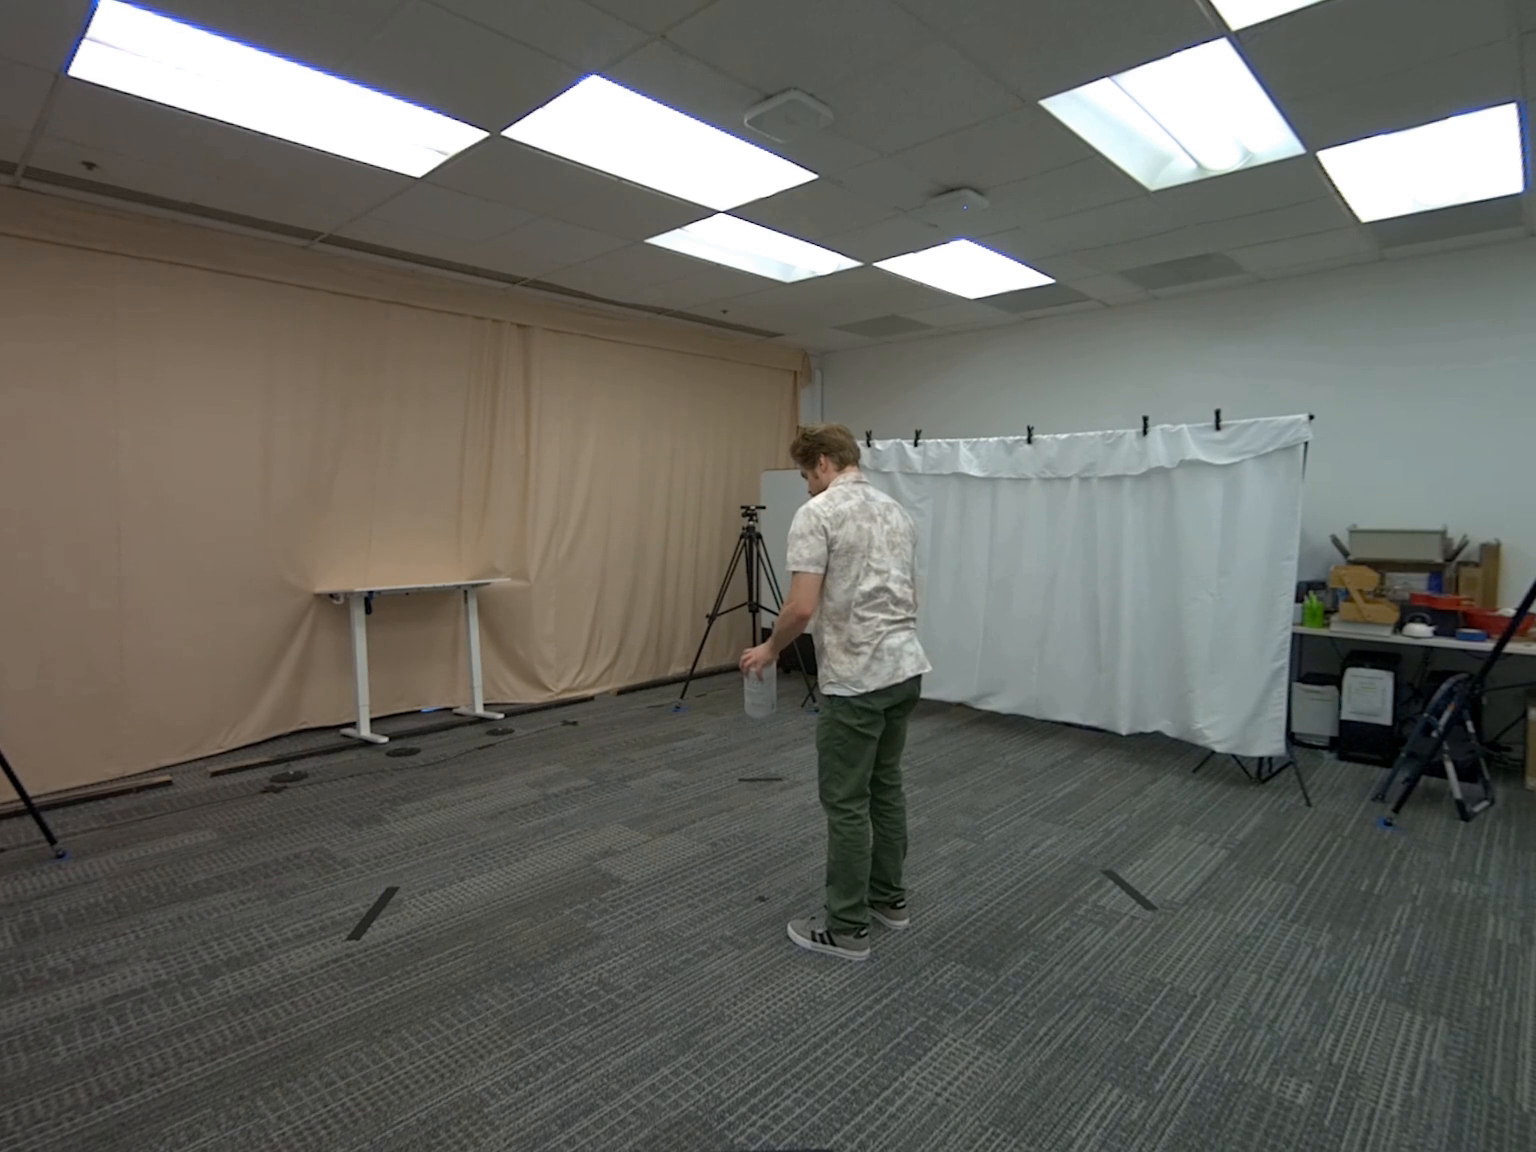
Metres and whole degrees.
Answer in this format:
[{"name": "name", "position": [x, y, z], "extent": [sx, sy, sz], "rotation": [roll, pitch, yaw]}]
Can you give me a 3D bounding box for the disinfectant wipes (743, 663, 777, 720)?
[{"name": "disinfectant wipes", "position": [-0.022, 0.376, 2.884], "extent": [0.118, 0.214, 0.120], "rotation": [-2, 28, -1]}]
